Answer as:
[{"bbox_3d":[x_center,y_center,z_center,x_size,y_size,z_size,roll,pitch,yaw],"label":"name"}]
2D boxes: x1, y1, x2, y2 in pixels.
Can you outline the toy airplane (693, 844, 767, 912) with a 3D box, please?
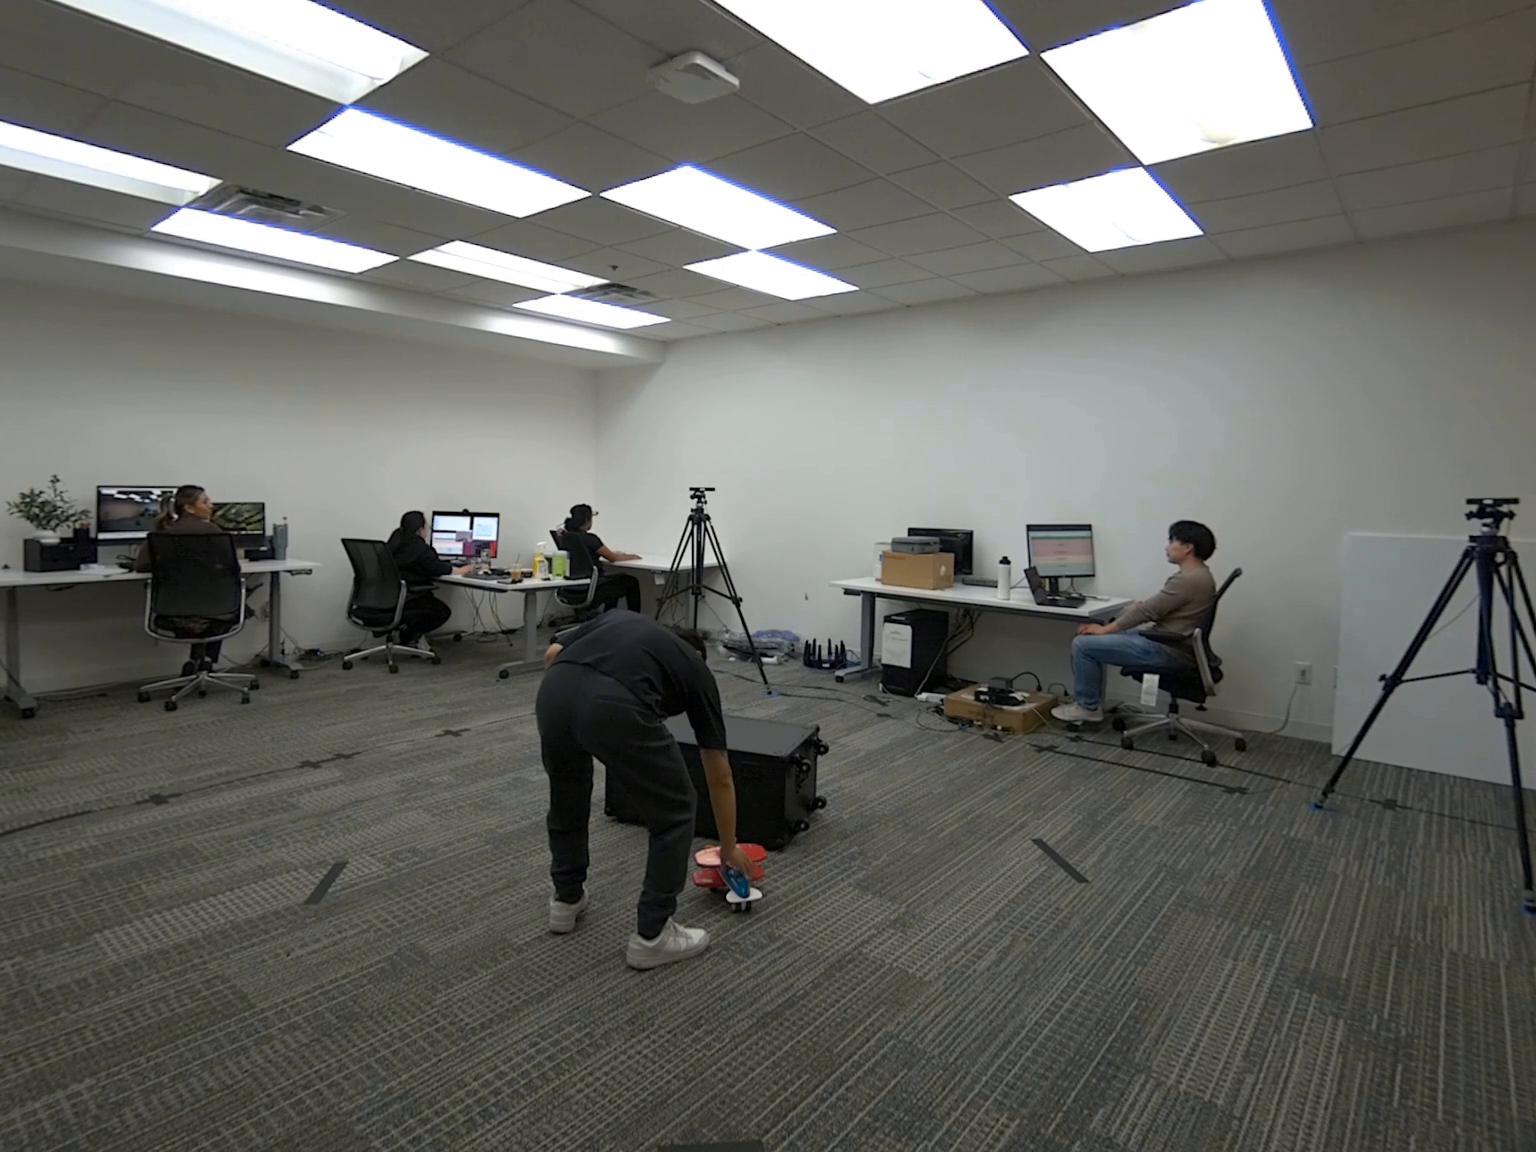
[{"bbox_3d":[-0.111,1.011,2.892,0.268,0.156,0.243,4,5,42],"label":"toy airplane"}]
